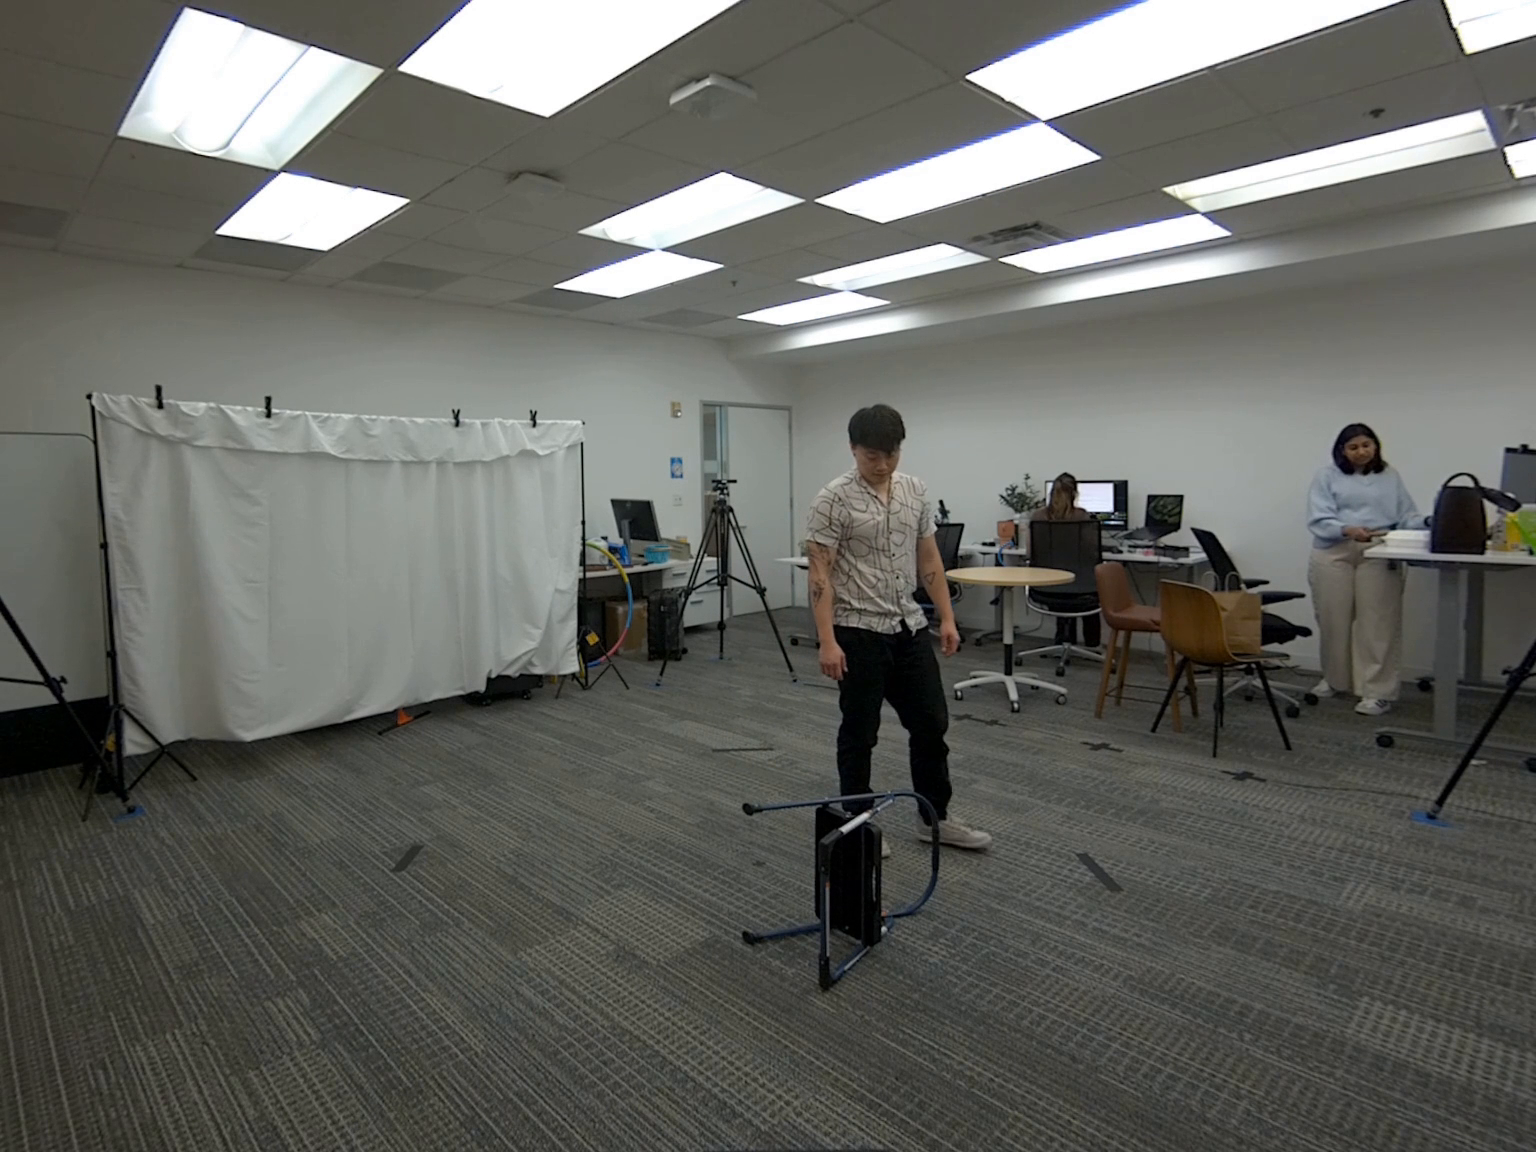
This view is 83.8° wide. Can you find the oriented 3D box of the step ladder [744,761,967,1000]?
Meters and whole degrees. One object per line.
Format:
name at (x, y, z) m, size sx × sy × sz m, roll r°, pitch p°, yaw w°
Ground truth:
step ladder at (0.271, 0.888, 2.624) m, size 0.590 × 0.428 × 0.360 m, roll -6°, pitch 8°, yaw -40°
